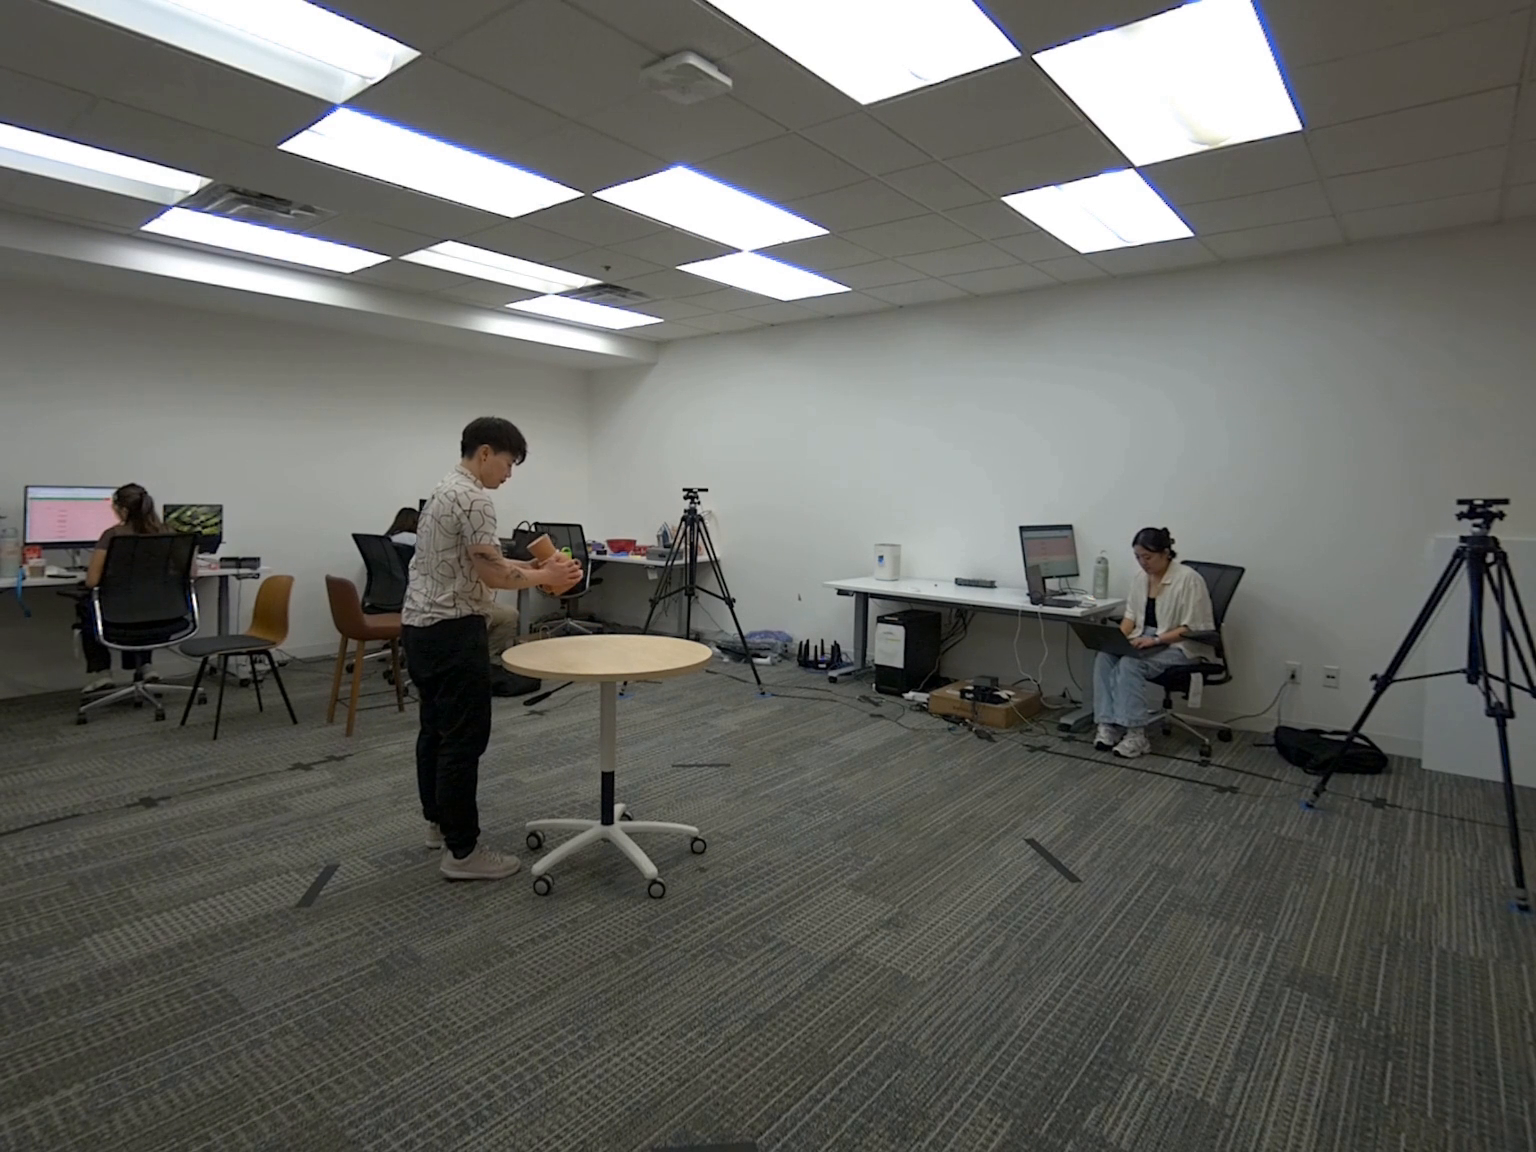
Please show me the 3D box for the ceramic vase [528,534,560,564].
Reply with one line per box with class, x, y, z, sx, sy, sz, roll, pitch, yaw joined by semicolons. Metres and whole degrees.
ceramic vase;-0.863;-0.047;3.332;0.135;0.215;0.161;-31;15;12
